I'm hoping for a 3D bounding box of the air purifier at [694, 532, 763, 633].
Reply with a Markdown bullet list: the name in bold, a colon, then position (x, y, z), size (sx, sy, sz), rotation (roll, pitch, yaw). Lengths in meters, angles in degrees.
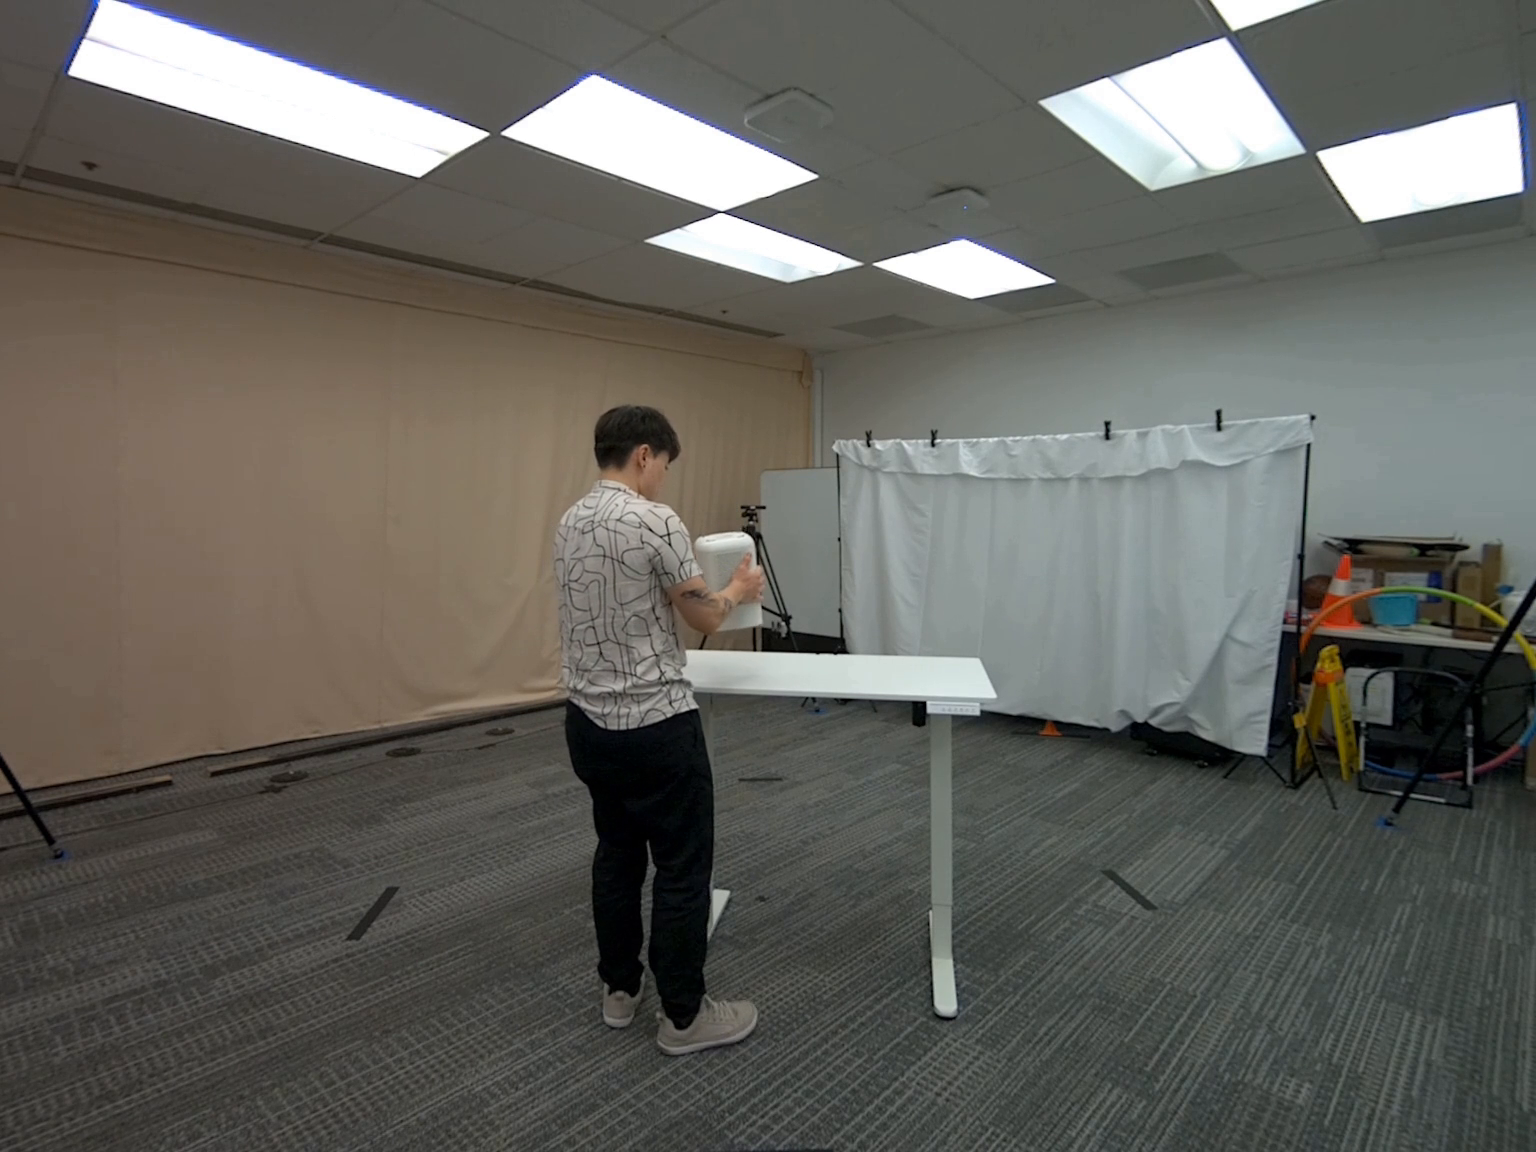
- **air purifier**: position (-0.111, 0.010, 2.475), size (0.170, 0.264, 0.173), rotation (-6, 8, -9)
